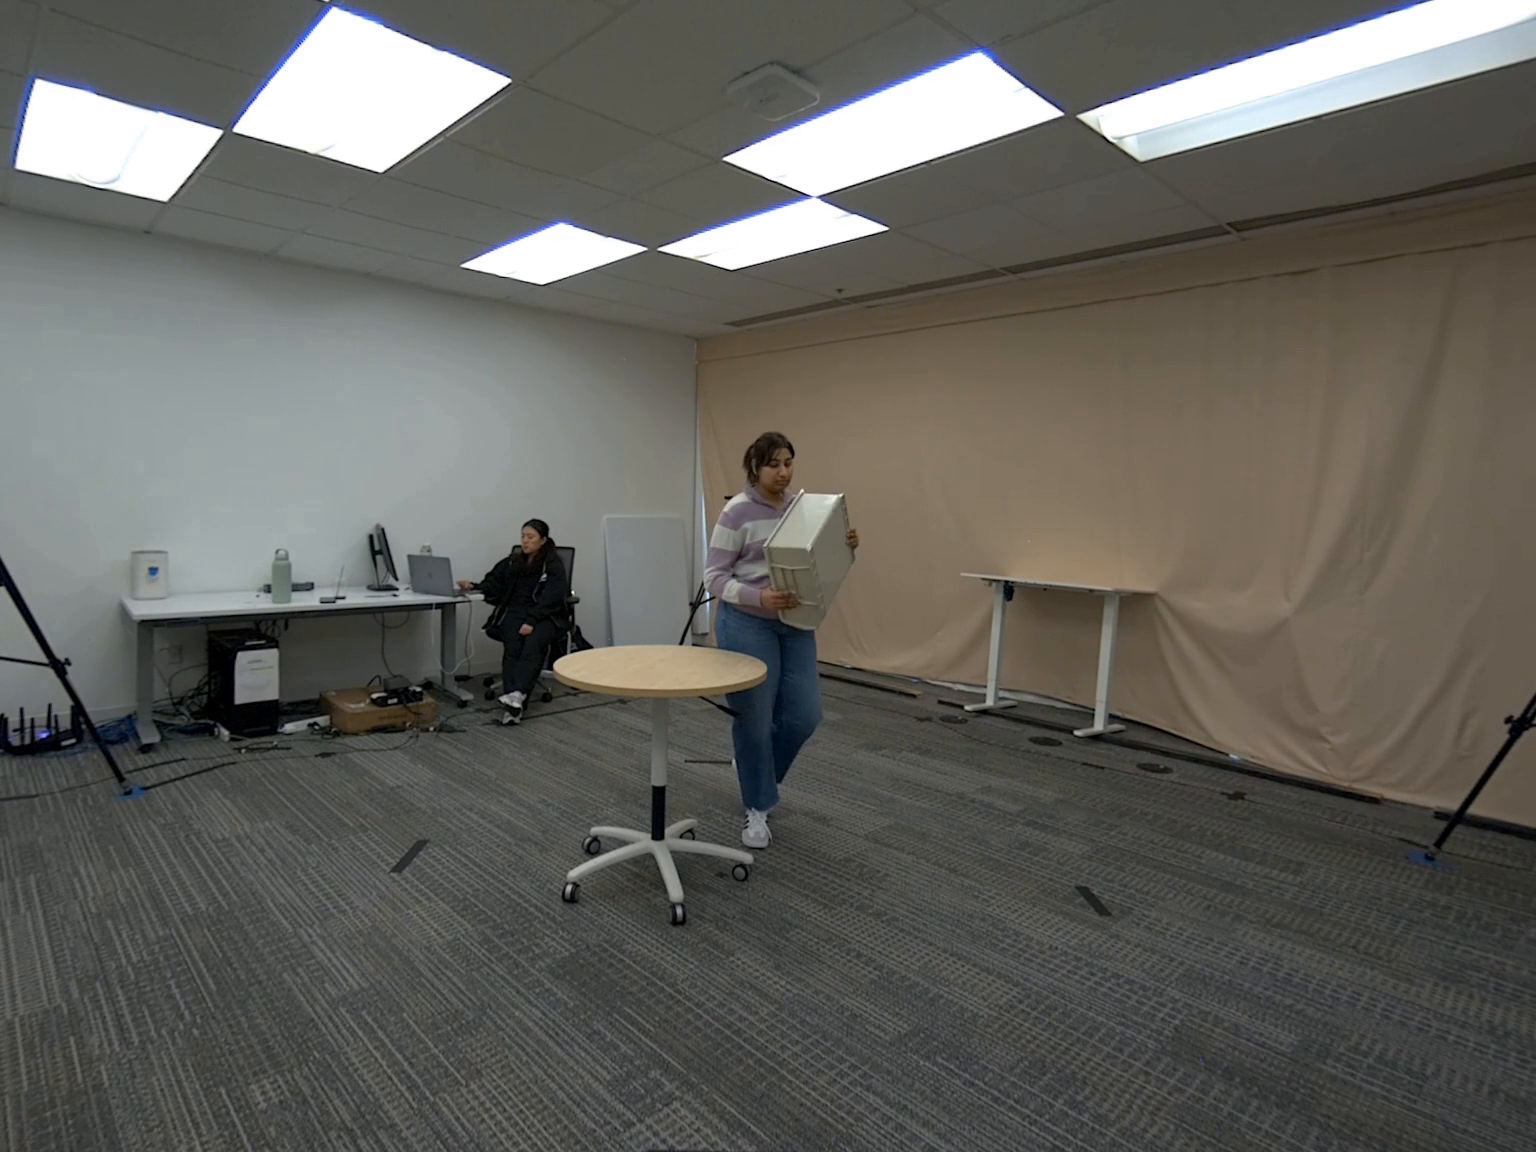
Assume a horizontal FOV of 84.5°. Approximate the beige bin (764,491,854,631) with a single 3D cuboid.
[{"bbox_3d":[0.166,-0.066,3.258,0.193,0.368,0.424,3,35,26],"label":"beige bin"}]
